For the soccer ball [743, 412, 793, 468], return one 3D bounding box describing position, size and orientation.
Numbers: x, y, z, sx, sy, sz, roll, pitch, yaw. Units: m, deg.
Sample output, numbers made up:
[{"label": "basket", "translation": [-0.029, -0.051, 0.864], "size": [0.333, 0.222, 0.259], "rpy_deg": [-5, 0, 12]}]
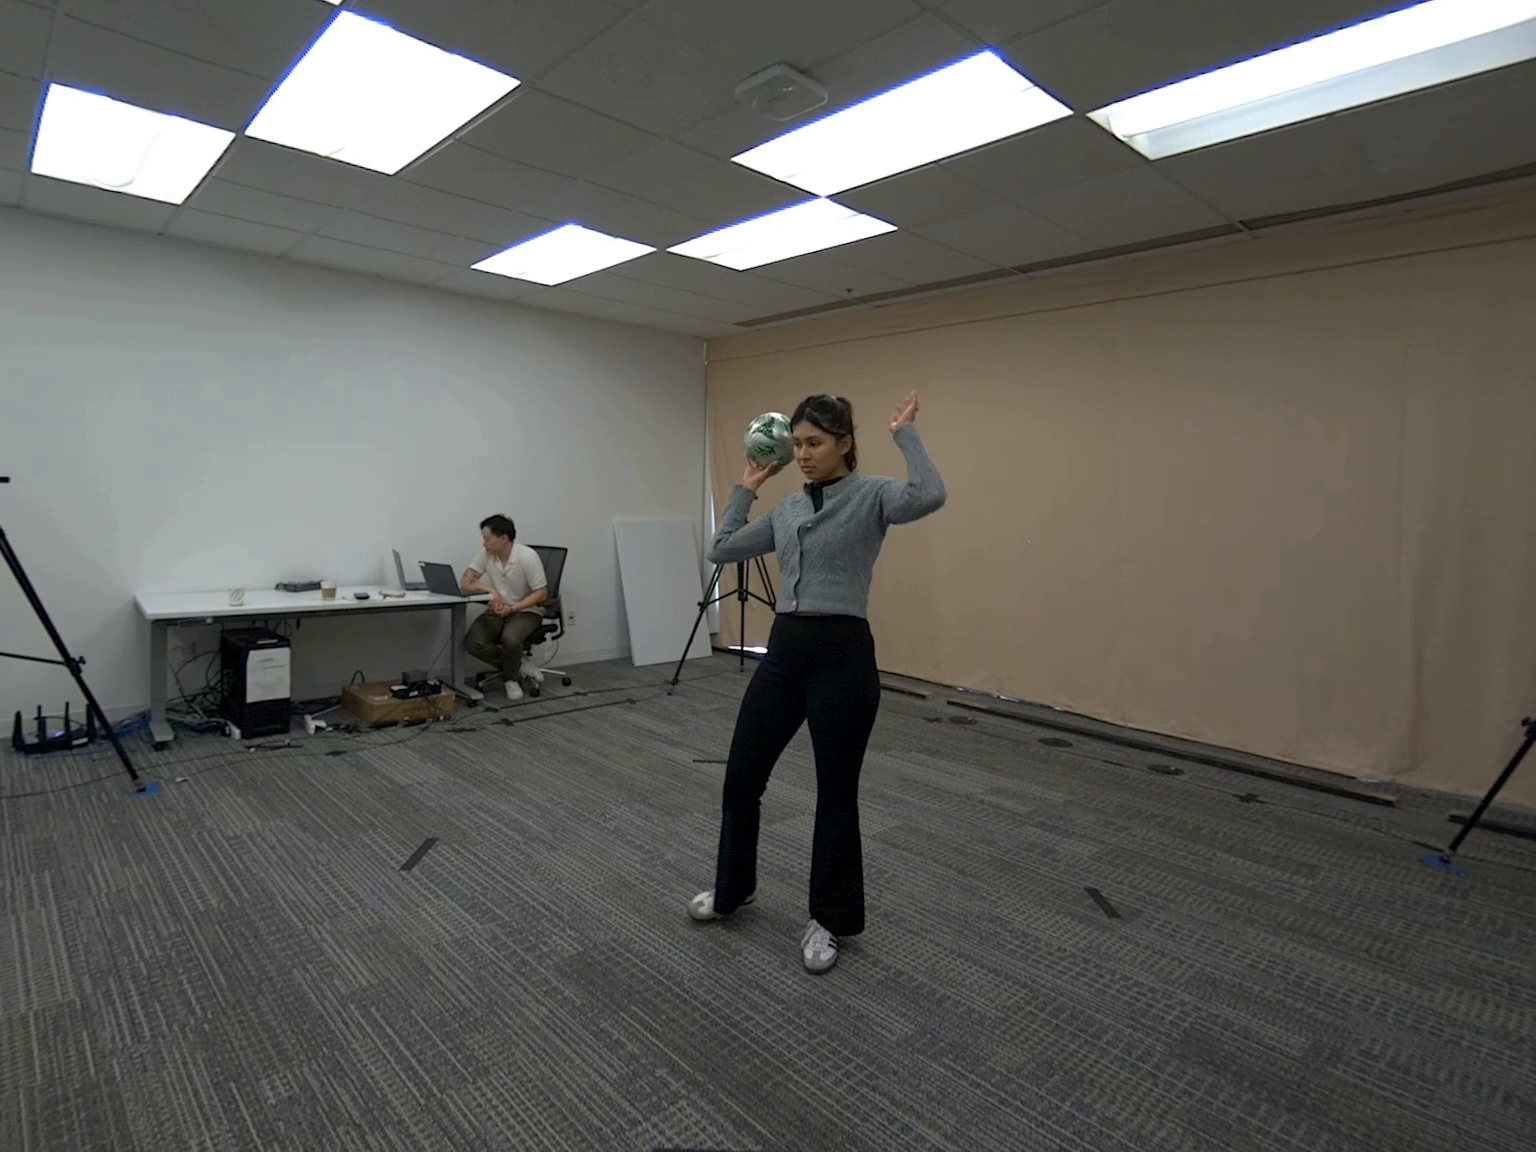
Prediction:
[{"label": "soccer ball", "translation": [0.001, -0.445, 2.788], "size": [0.187, 0.187, 0.188], "rpy_deg": [1, 4, -1]}]
